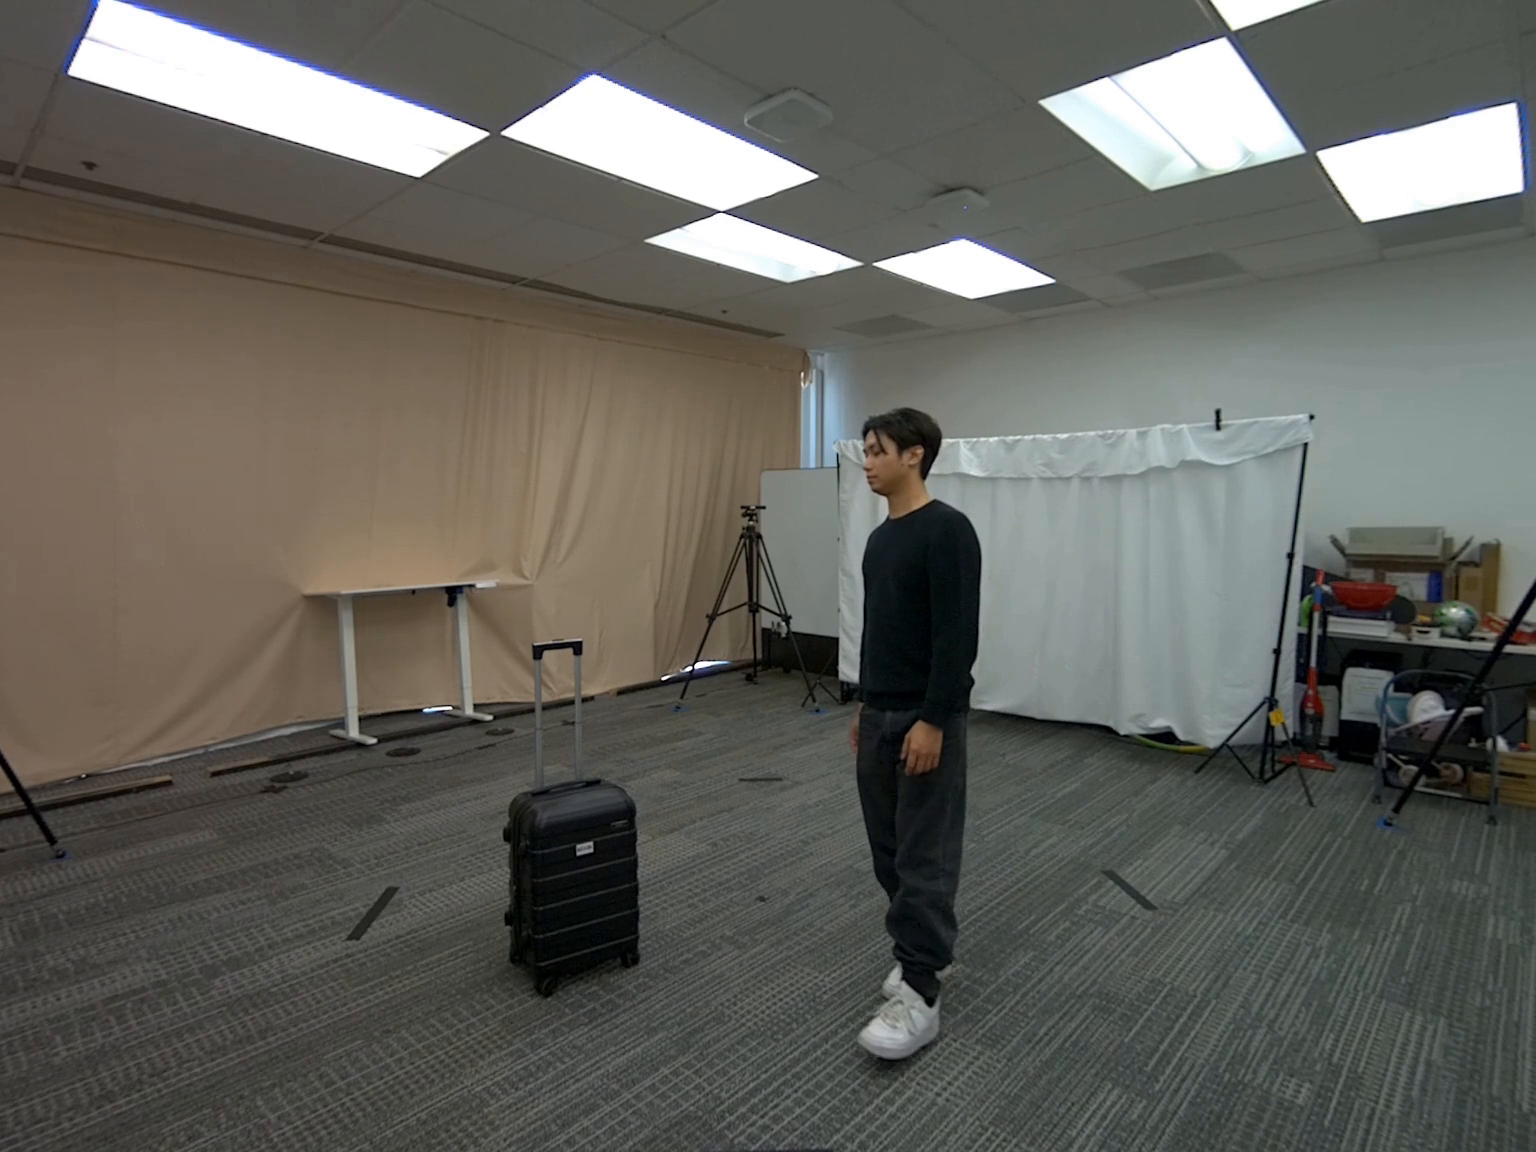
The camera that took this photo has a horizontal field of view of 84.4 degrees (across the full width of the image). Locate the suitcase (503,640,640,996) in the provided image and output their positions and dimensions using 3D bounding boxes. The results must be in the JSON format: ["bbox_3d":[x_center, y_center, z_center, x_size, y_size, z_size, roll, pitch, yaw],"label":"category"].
[{"bbox_3d":[-0.585,0.710,2.528,0.373,0.975,0.265,-2,6,-31],"label":"suitcase"}]
